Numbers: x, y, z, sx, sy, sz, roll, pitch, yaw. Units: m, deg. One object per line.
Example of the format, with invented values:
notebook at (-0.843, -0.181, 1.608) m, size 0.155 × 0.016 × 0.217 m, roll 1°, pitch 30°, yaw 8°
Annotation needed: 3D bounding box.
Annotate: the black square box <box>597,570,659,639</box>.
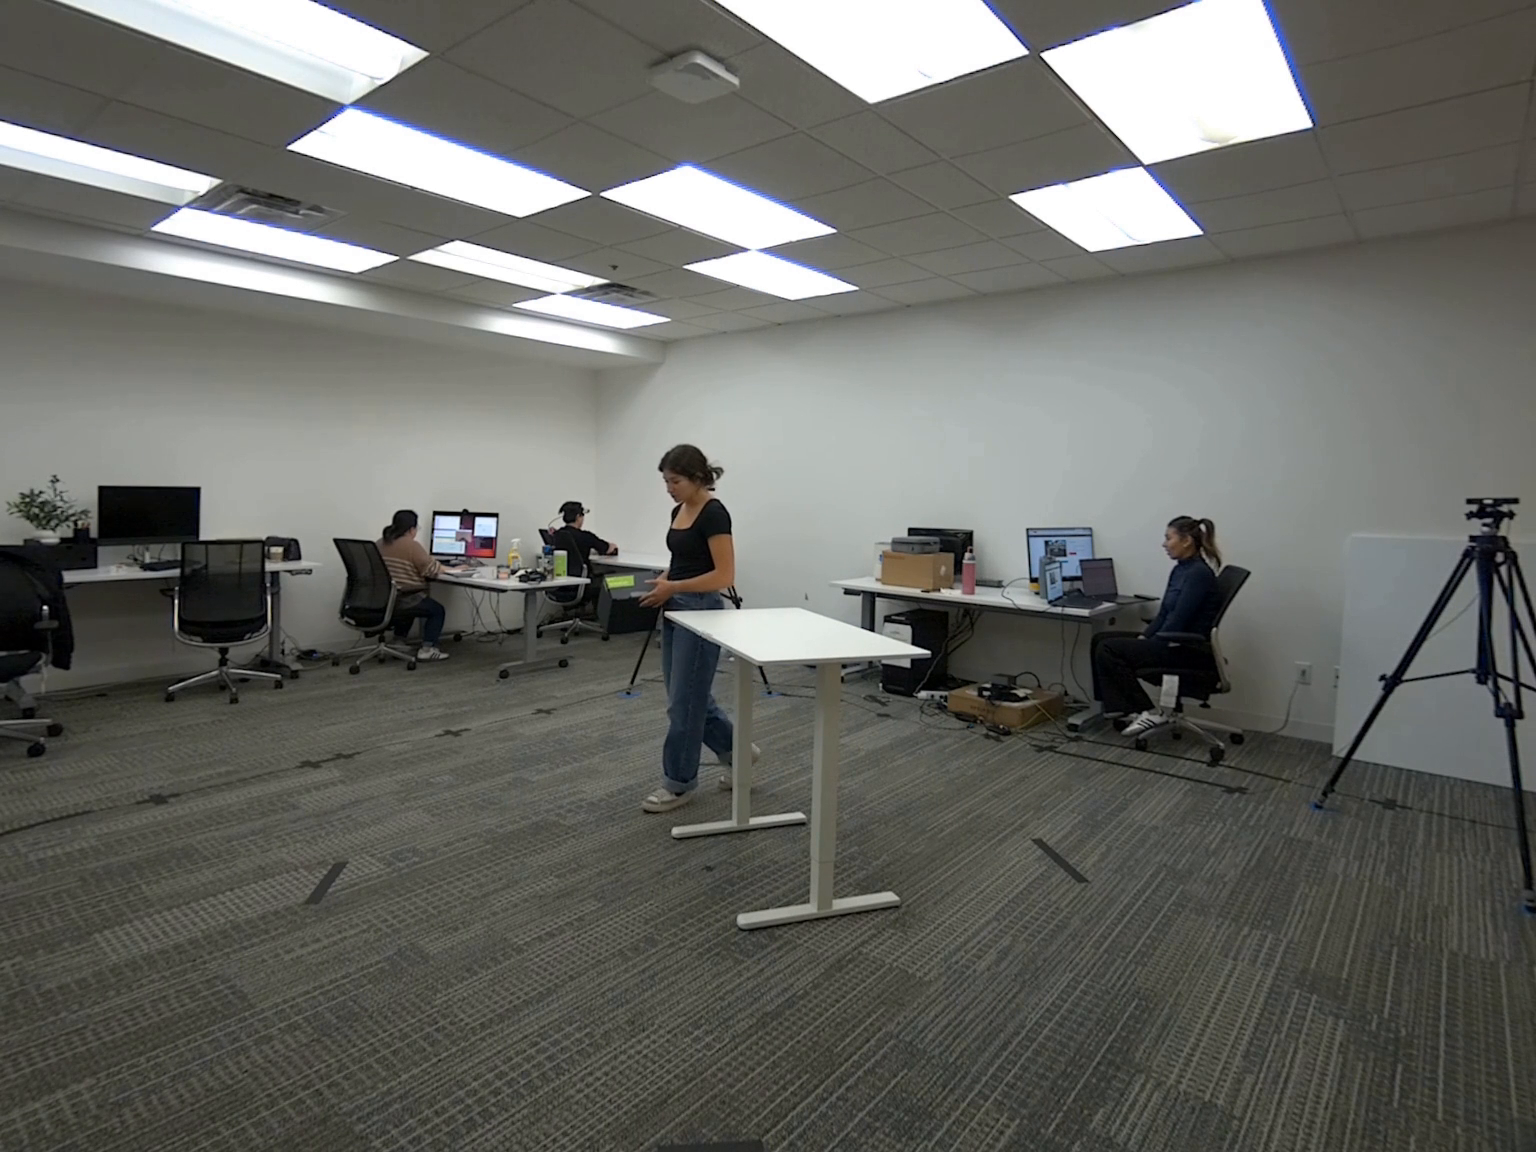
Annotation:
black square box at (-0.611, 0.110, 3.688) m, size 0.223 × 0.213 × 0.162 m, roll -3°, pitch 40°, yaw -24°
